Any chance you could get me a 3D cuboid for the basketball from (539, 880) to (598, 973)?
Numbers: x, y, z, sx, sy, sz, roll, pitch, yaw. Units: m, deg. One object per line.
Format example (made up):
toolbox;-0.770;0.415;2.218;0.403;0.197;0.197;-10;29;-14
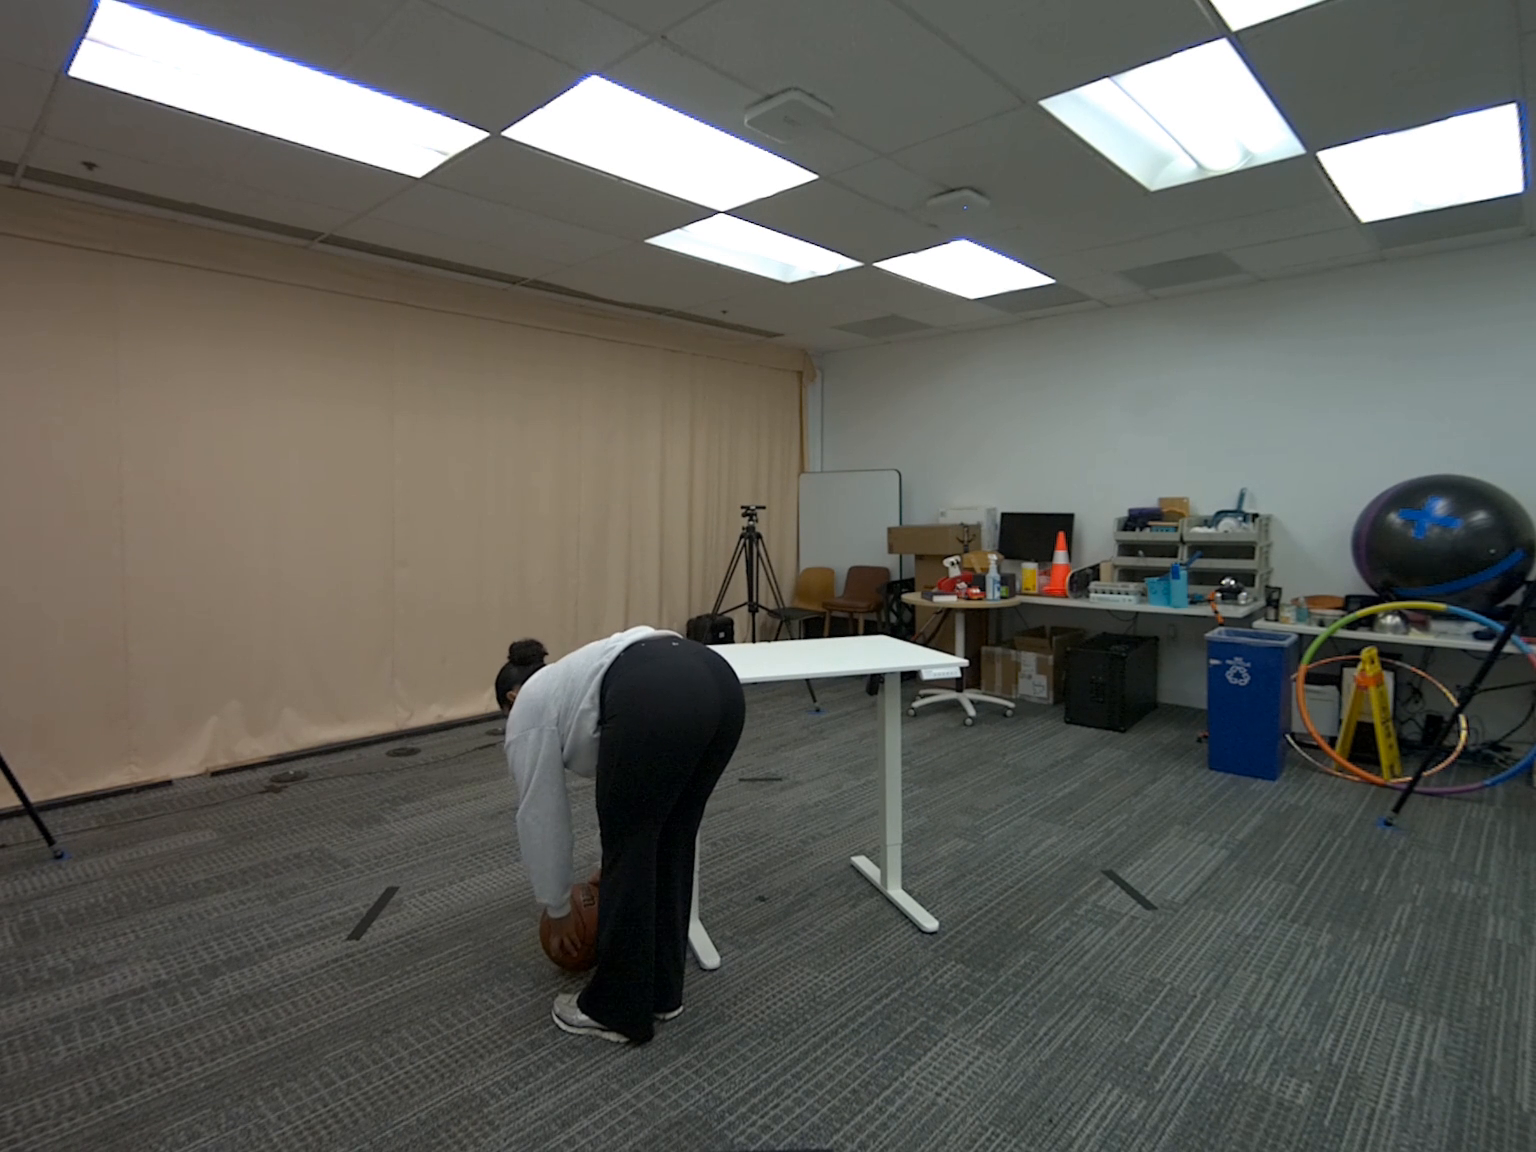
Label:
basketball;-0.561;1.037;2.512;0.236;0.235;0.237;0;4;-2
